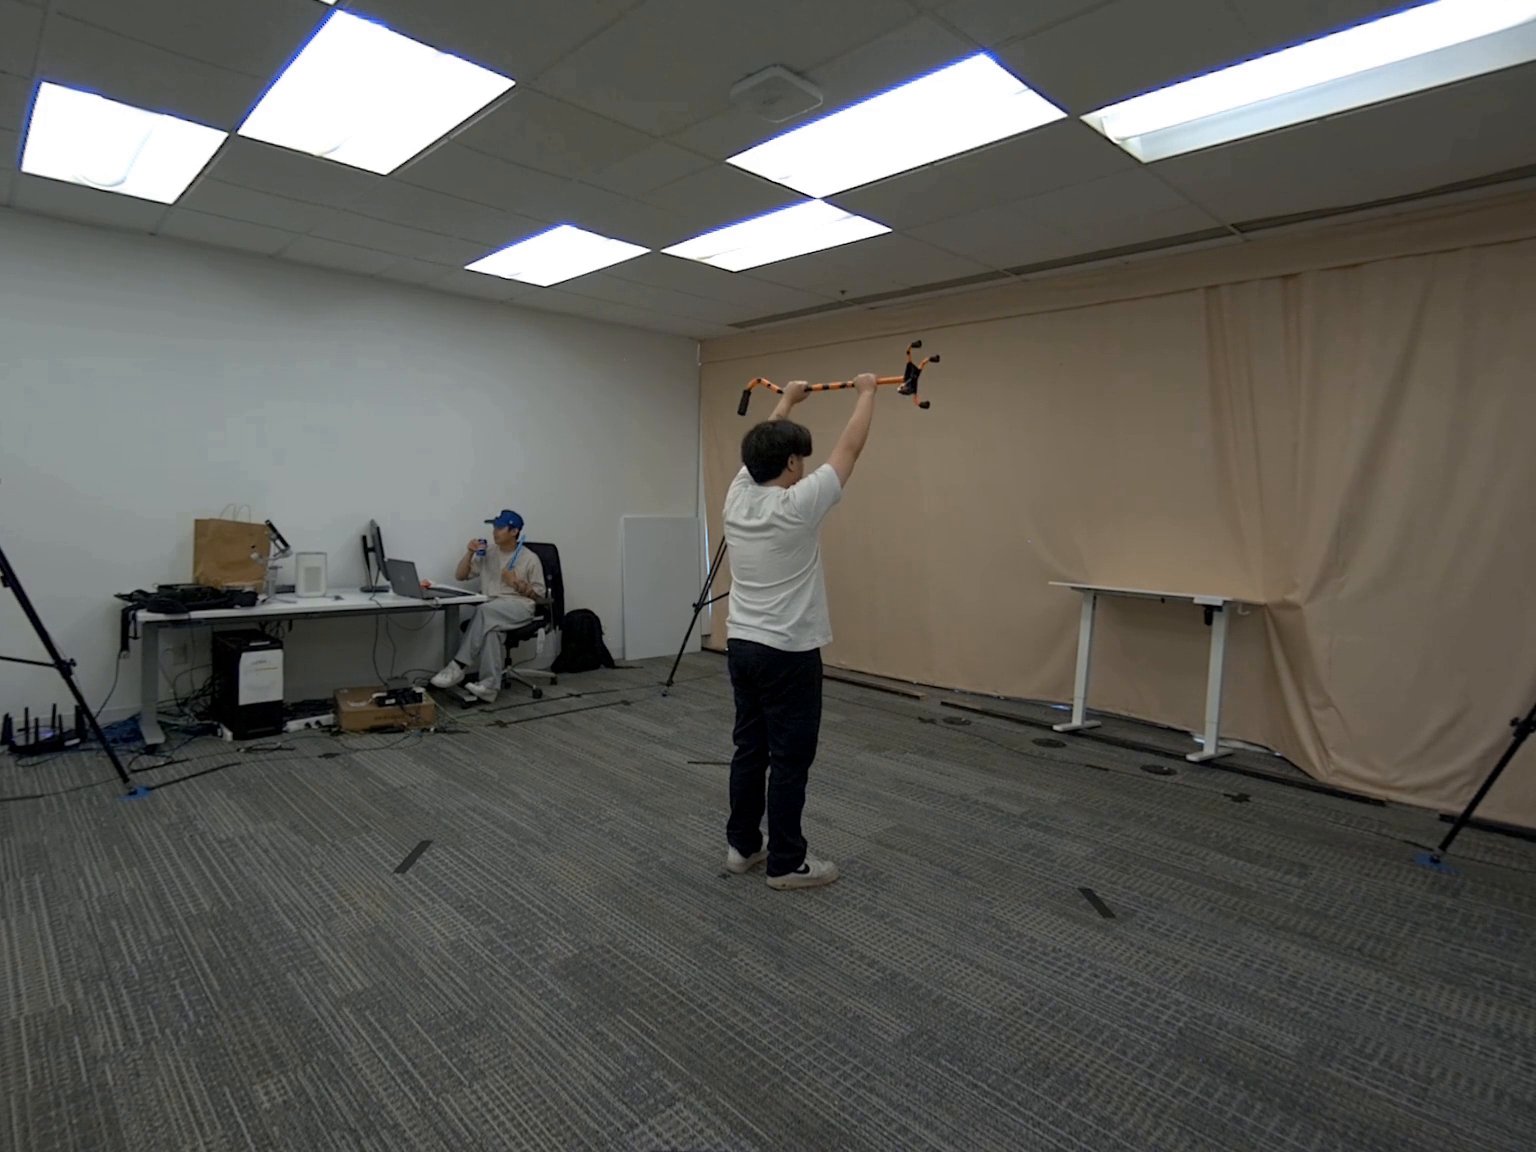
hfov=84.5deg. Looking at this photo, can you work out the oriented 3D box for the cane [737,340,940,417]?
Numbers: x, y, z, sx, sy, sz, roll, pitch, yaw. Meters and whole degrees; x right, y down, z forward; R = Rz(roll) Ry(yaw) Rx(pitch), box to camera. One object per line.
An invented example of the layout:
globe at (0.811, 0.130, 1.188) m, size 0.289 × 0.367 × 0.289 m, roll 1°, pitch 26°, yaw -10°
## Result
cane at (0.214, -0.745, 3.275) m, size 0.932 × 0.207 × 0.147 m, roll 7°, pitch -11°, yaw 45°
